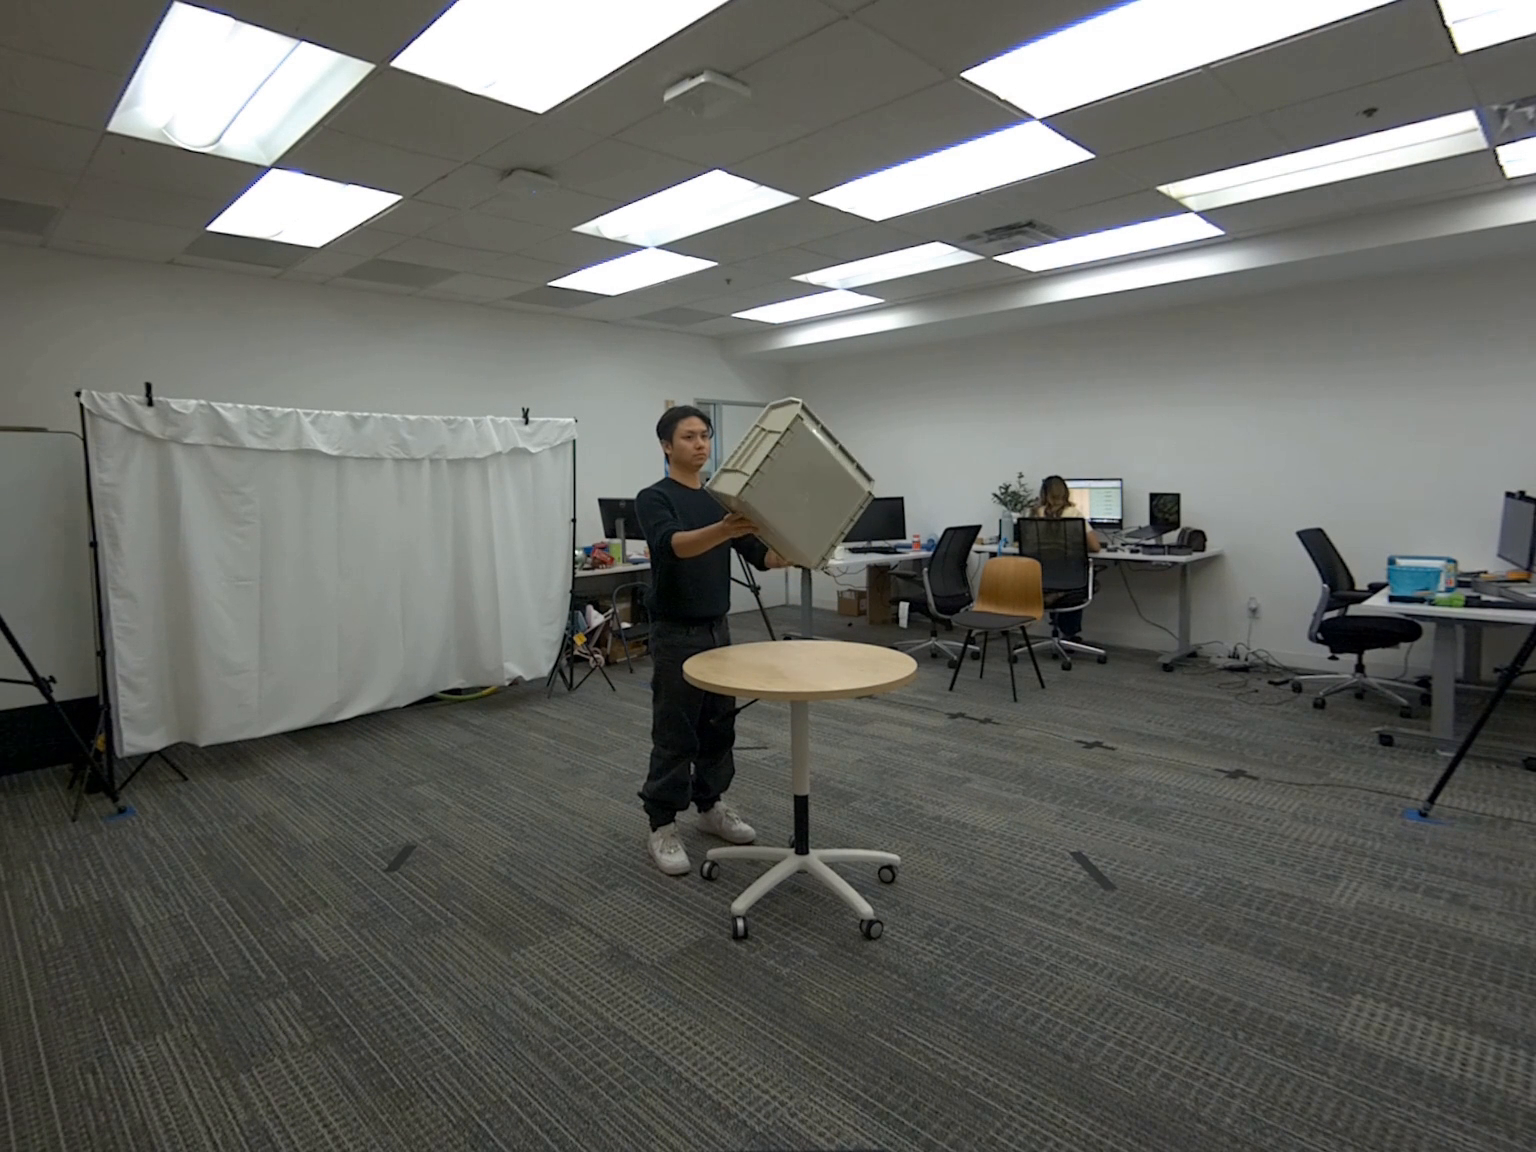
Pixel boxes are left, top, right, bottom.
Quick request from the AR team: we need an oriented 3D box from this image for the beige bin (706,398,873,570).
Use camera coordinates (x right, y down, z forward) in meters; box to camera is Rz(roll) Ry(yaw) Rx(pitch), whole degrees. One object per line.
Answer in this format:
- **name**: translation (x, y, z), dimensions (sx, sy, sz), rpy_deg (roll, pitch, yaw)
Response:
- **beige bin**: translation (0.095, -0.281, 2.690), dimensions (0.407, 0.378, 0.195), rpy_deg (43, -12, -32)
